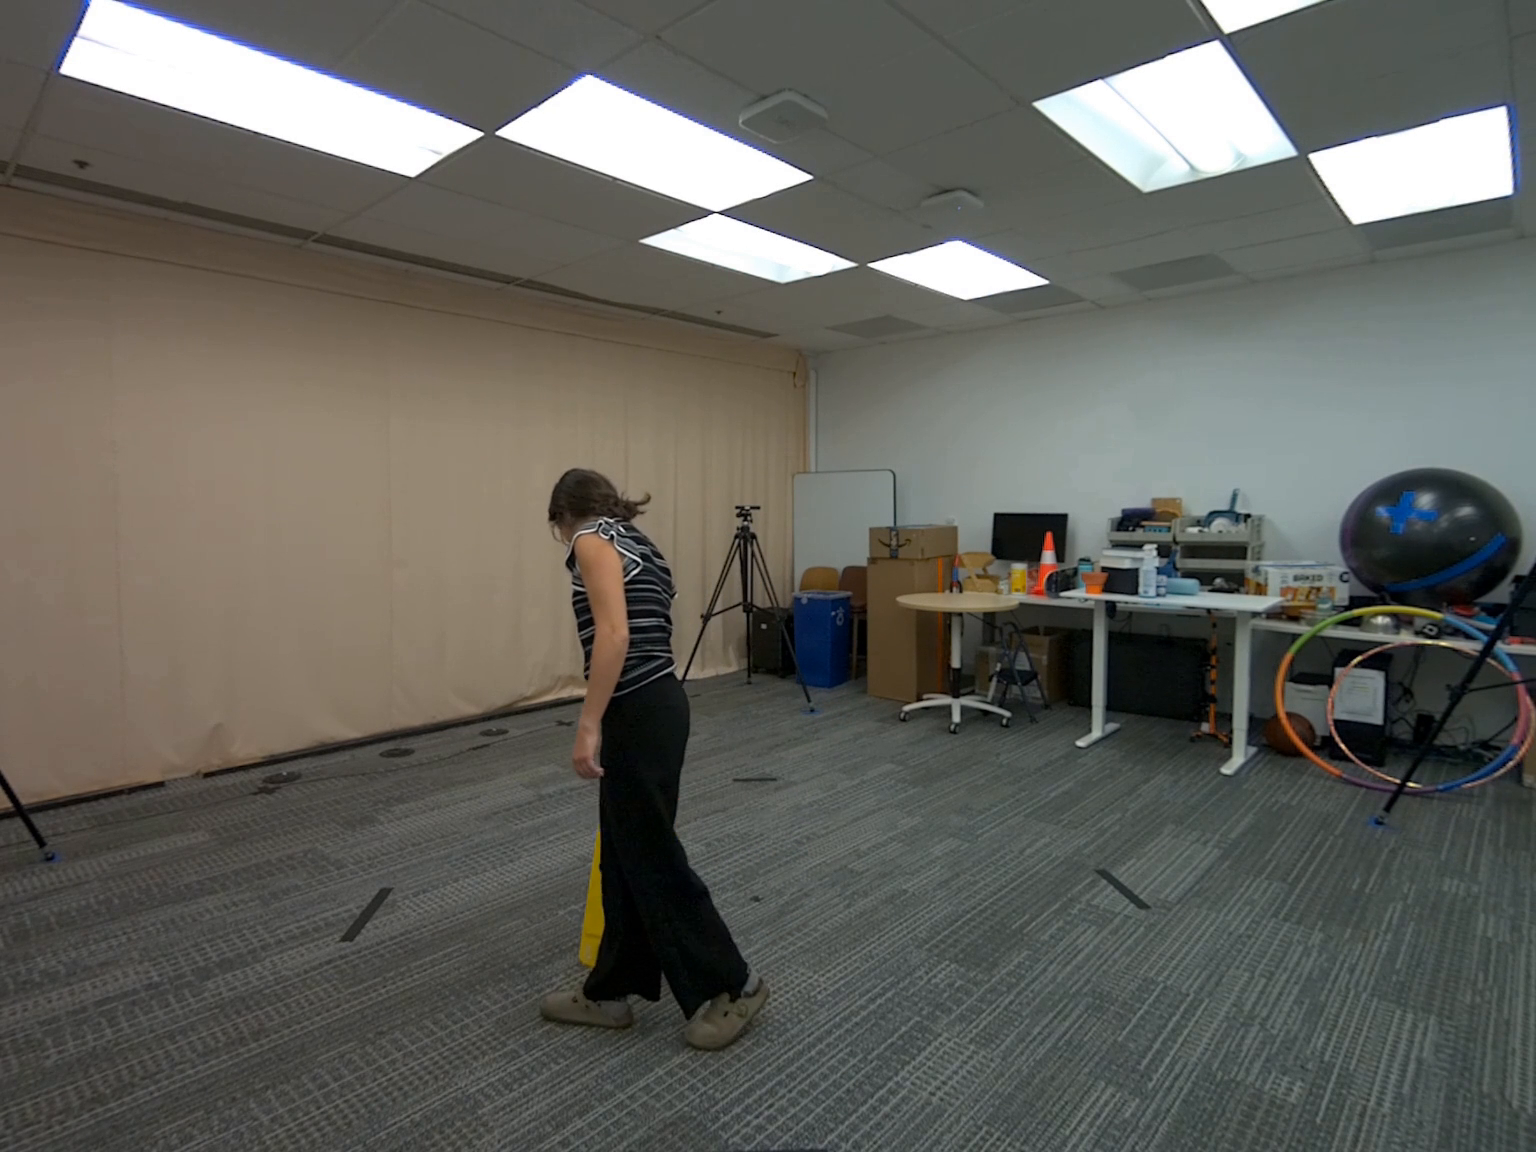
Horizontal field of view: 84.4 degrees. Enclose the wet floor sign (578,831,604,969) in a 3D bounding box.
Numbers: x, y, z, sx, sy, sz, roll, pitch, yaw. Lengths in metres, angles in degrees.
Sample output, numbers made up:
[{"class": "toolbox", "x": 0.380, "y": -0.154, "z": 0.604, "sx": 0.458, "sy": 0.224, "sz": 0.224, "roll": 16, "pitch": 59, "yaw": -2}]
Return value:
[{"class": "wet floor sign", "x": -0.405, "y": 0.857, "z": 2.565, "sx": 0.291, "sy": 0.645, "sz": 0.281, "roll": 1, "pitch": 4, "yaw": 39}]
